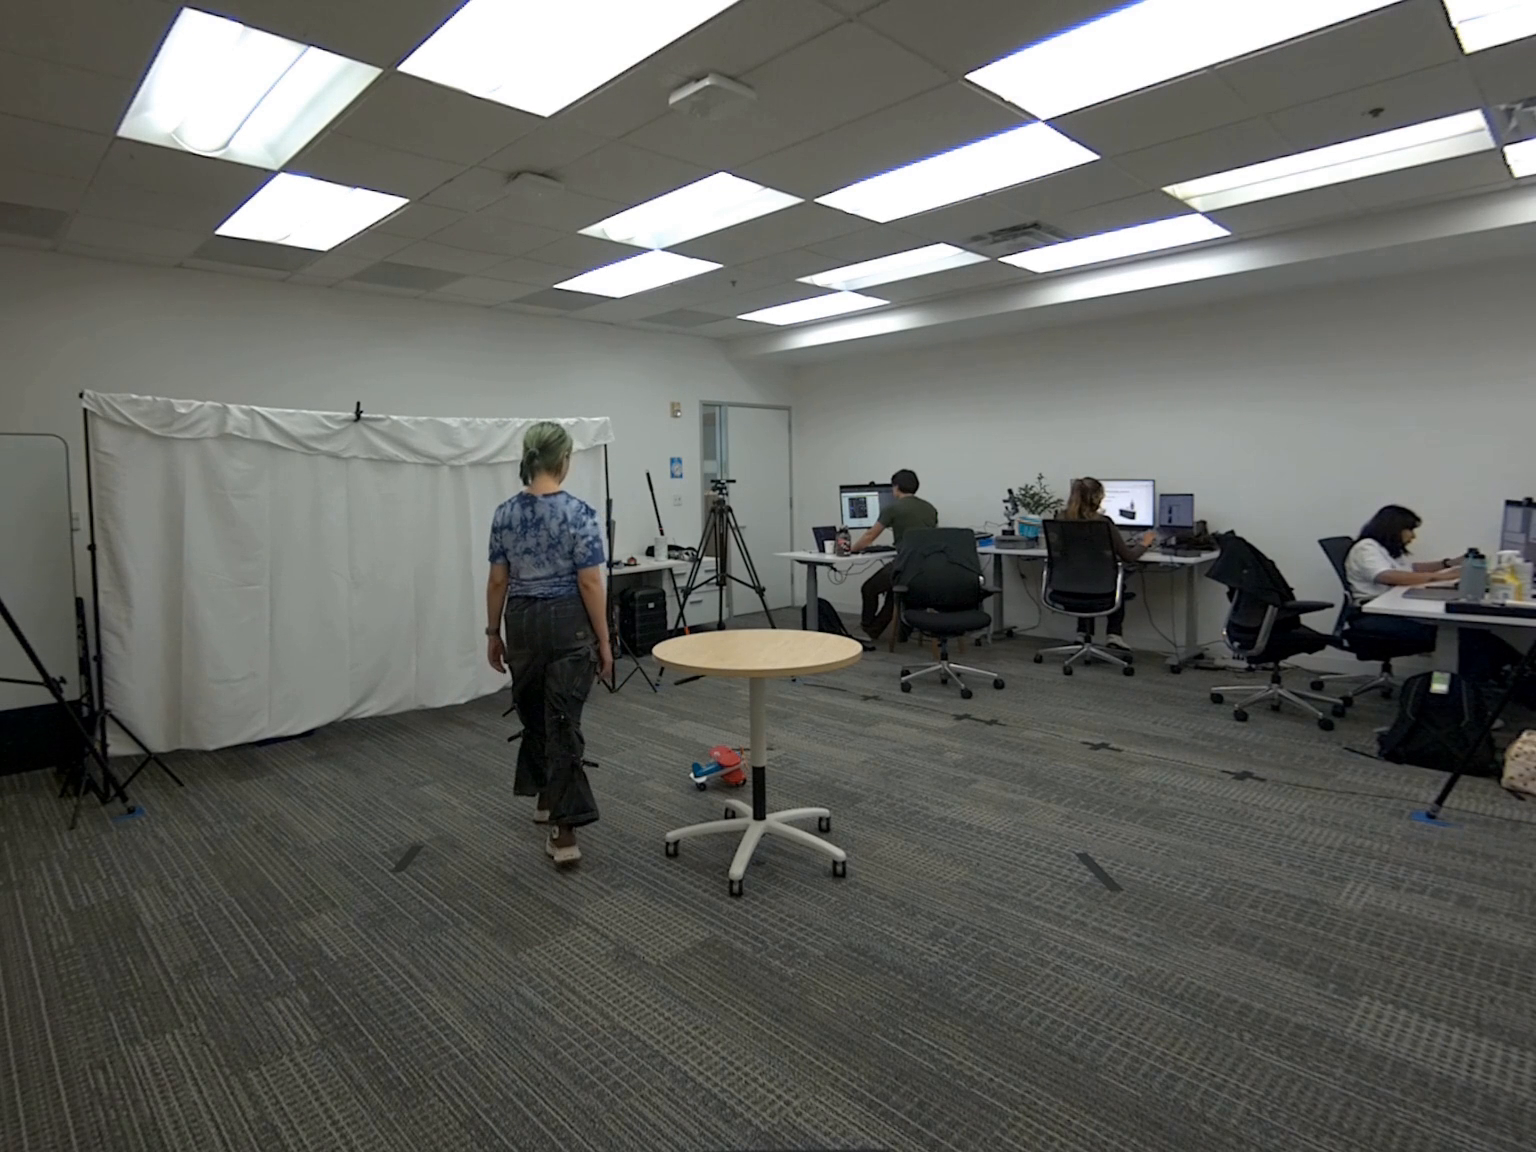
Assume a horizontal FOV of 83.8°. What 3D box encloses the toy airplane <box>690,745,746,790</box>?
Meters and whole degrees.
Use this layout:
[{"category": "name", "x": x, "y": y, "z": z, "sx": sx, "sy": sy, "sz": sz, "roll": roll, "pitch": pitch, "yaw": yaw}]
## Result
[{"category": "toy airplane", "x": -0.213, "y": 0.889, "z": 3.894, "sx": 0.258, "sy": 0.156, "sz": 0.252, "roll": 2, "pitch": 5, "yaw": 37}]
